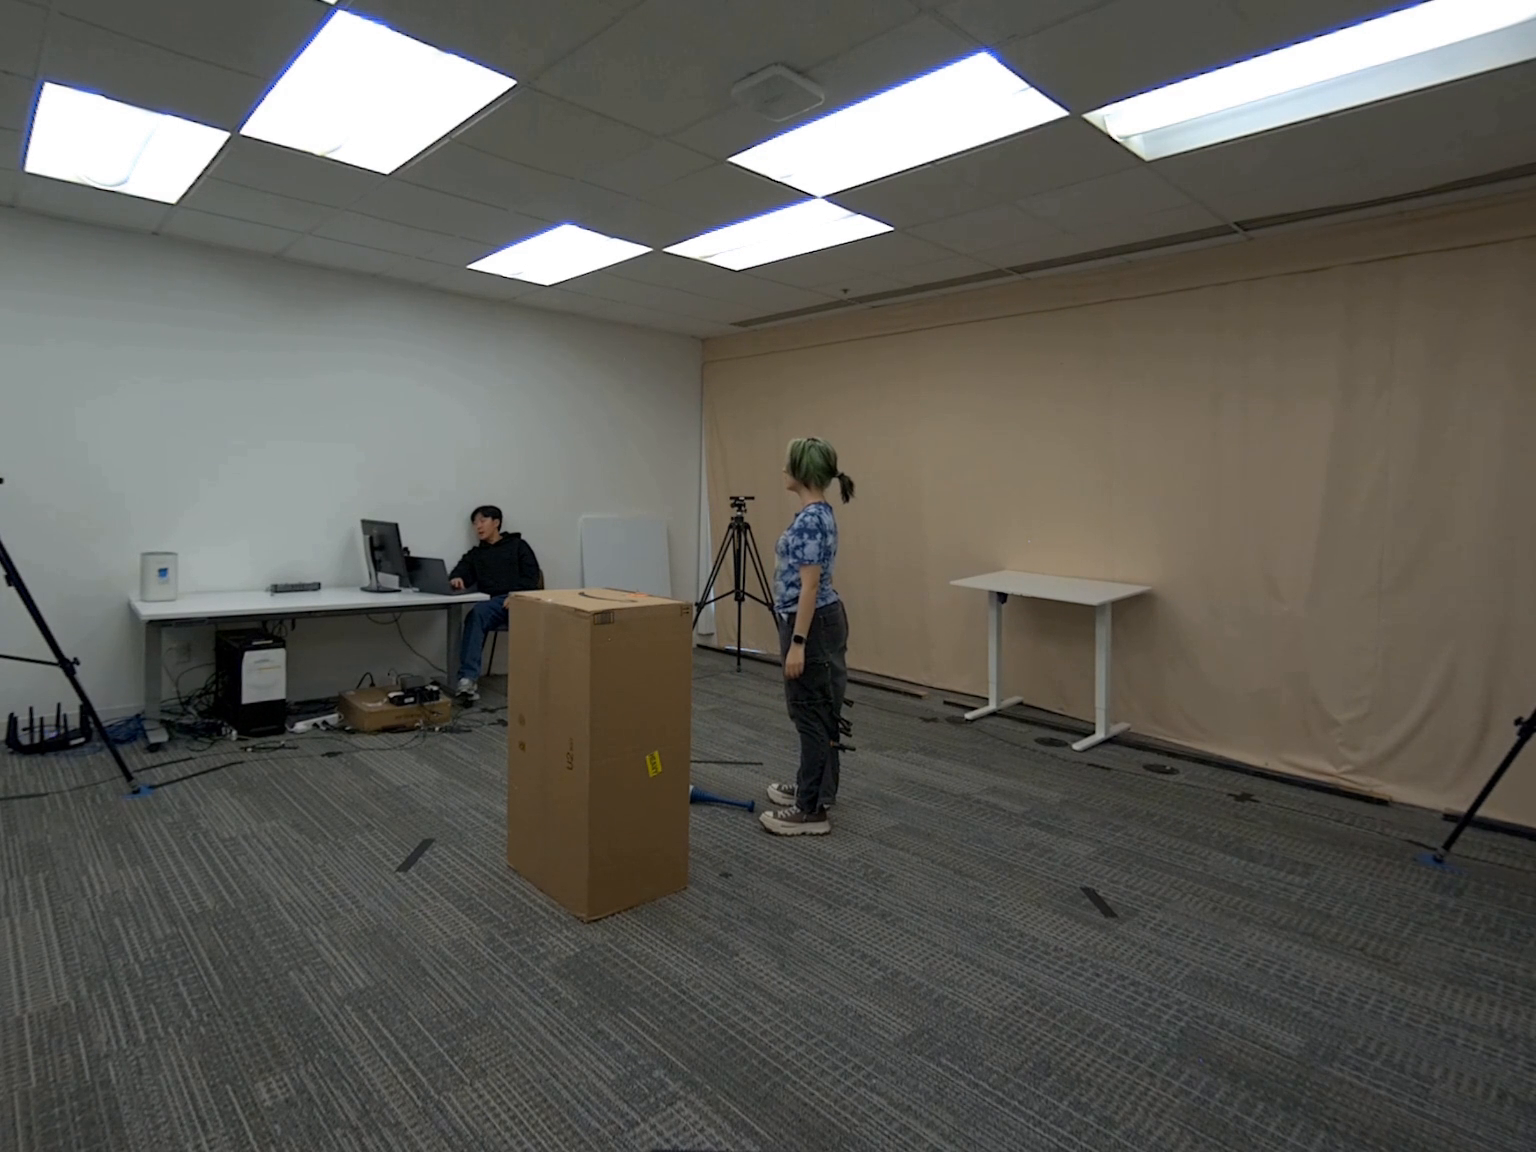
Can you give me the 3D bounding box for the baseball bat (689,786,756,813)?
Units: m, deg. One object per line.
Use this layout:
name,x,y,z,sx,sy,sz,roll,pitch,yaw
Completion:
baseball bat,-0.341,1.007,3.838,0.551,0.089,0.088,7,6,18
